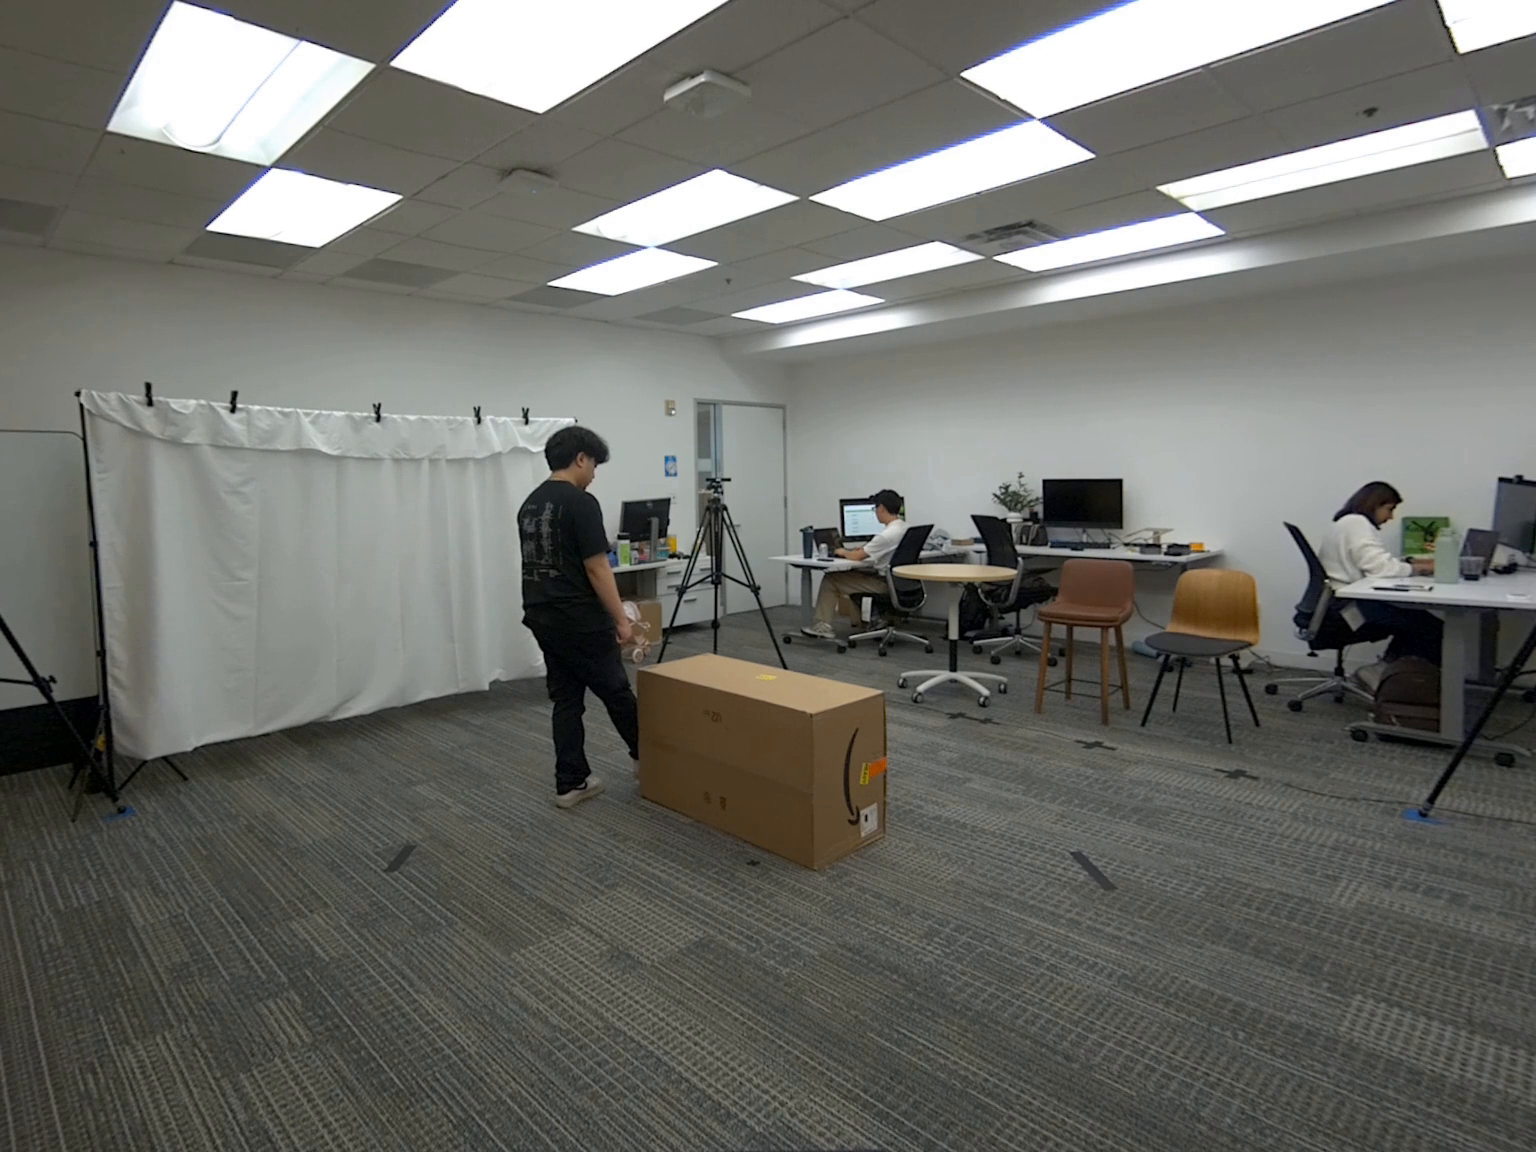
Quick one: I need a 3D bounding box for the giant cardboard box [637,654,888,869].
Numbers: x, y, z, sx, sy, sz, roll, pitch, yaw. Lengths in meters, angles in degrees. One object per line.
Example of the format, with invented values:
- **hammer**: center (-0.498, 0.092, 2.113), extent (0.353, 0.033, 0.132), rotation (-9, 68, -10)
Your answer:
- **giant cardboard box**: center (-0.050, 0.710, 3.521), extent (0.435, 0.582, 1.059), rotation (-4, 7, -44)
